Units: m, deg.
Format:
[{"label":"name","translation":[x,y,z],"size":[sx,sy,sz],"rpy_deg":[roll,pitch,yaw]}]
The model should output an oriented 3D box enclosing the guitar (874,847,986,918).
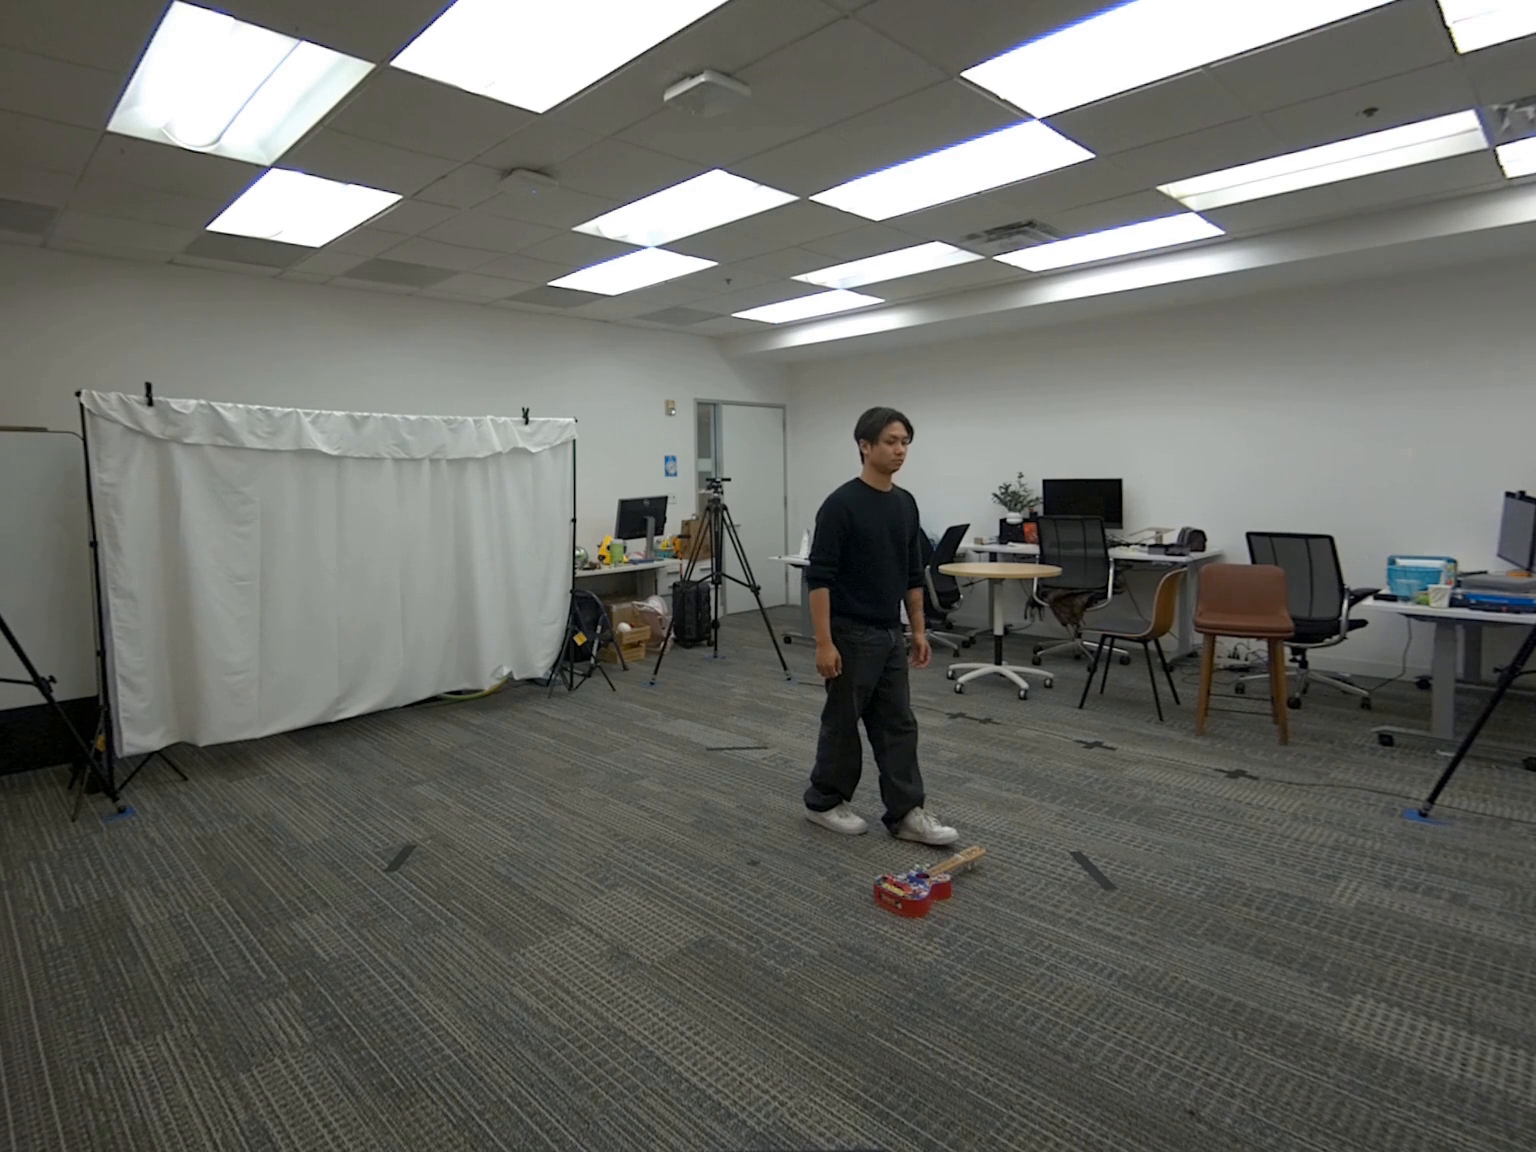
[{"label":"guitar","translation":[0.594,1.030,2.874],"size":[0.486,0.070,0.198],"rpy_deg":[-5,8,-30]}]
